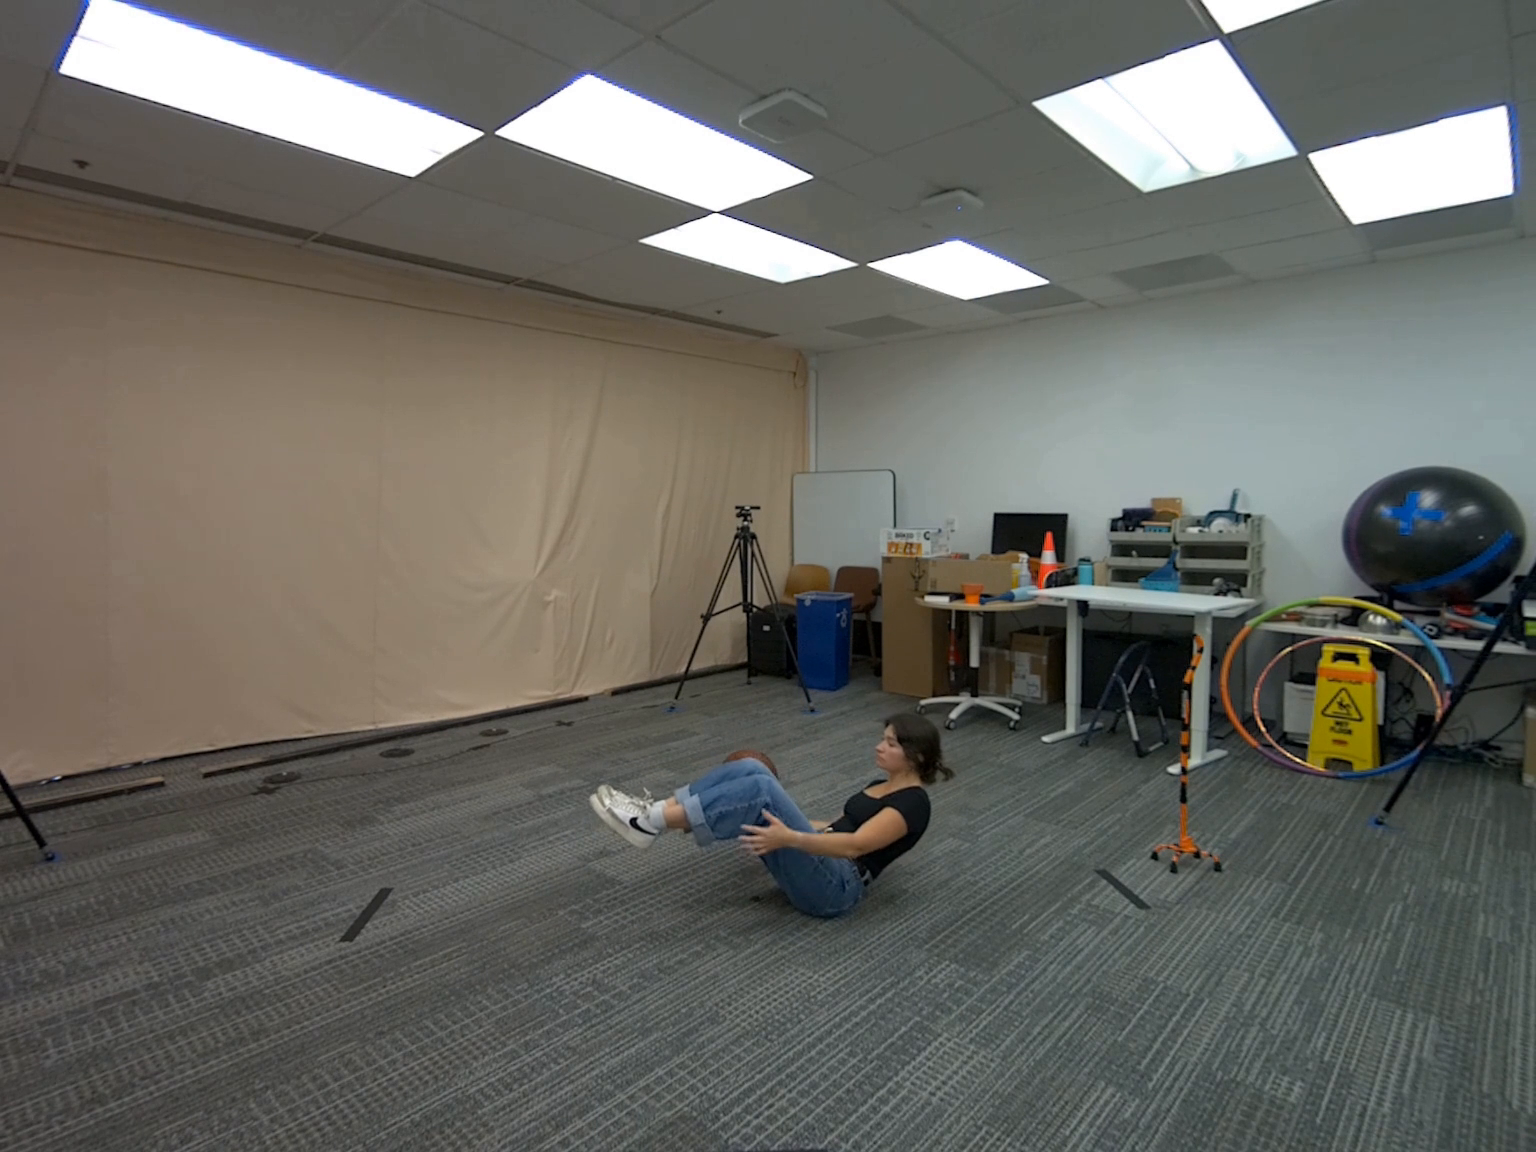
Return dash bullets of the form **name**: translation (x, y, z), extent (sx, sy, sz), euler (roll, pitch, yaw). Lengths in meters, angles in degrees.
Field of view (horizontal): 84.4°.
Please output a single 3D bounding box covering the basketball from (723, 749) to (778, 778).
- **basketball**: translation (-0.075, 0.794, 3.287), extent (0.236, 0.235, 0.237), euler (0, 4, -2)
